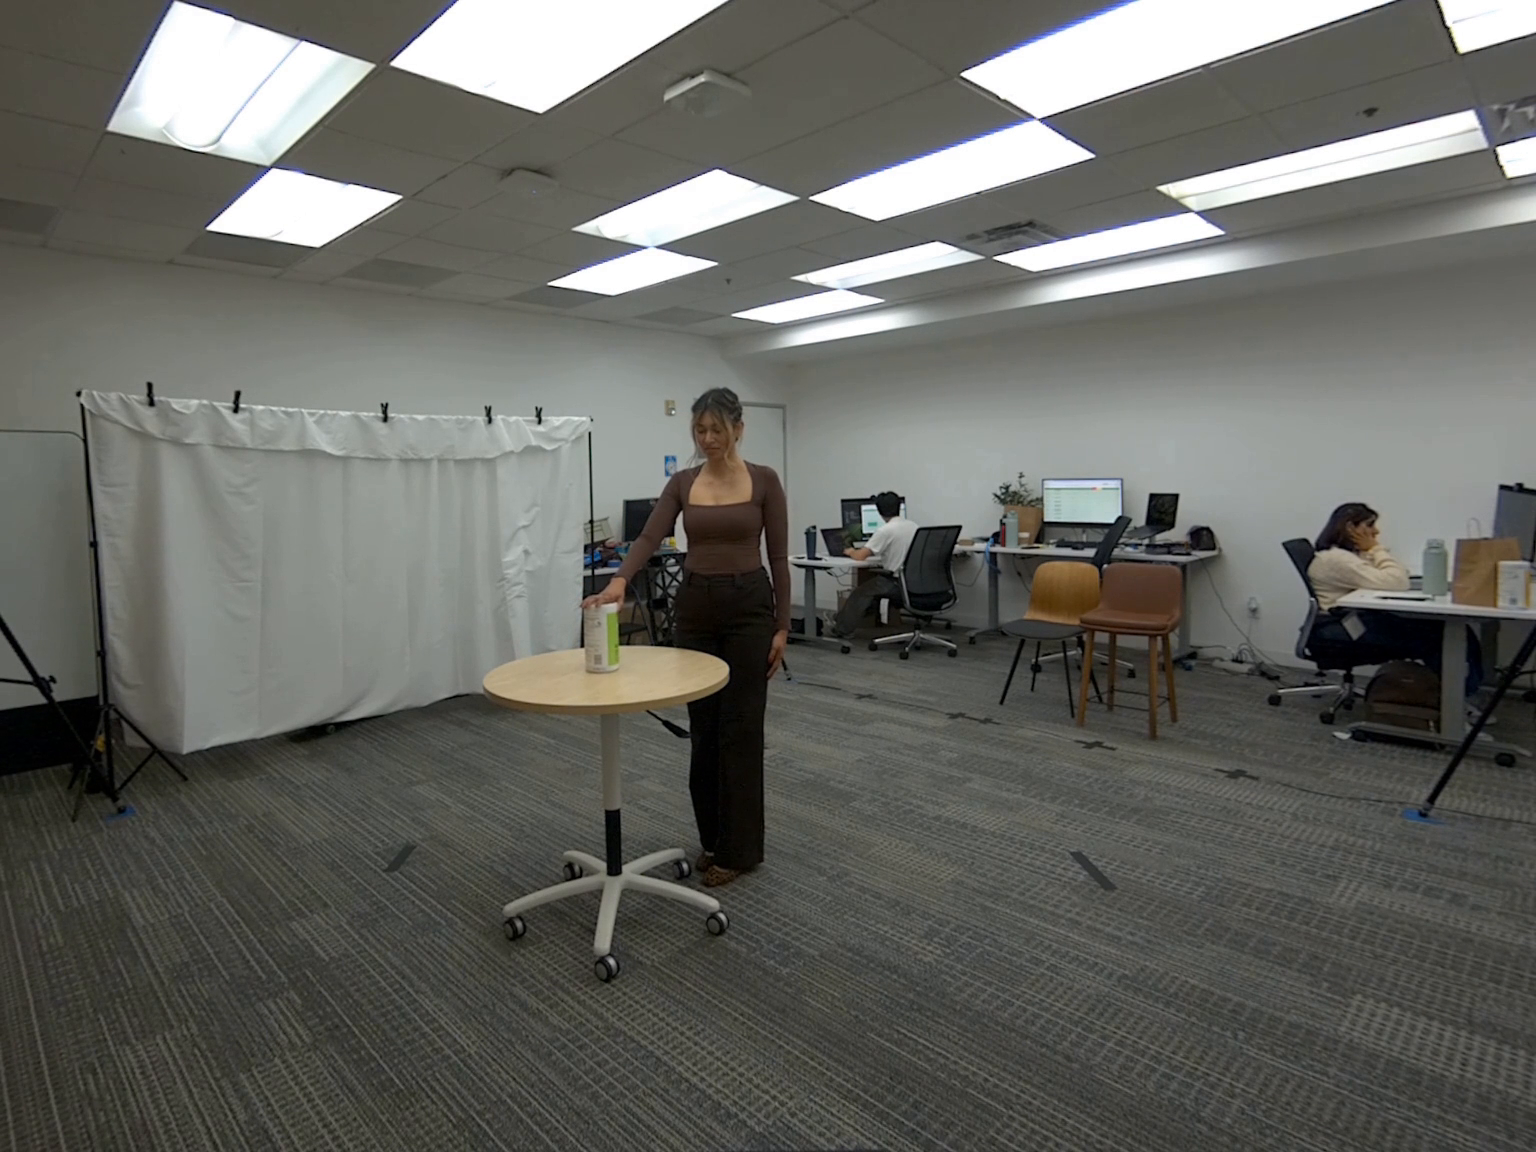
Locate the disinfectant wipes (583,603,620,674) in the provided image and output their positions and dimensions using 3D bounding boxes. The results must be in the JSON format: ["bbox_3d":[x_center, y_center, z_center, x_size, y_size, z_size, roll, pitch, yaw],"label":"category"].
[{"bbox_3d":[-0.527,0.192,2.715,0.118,0.217,0.118,0,1,-2],"label":"disinfectant wipes"}]
